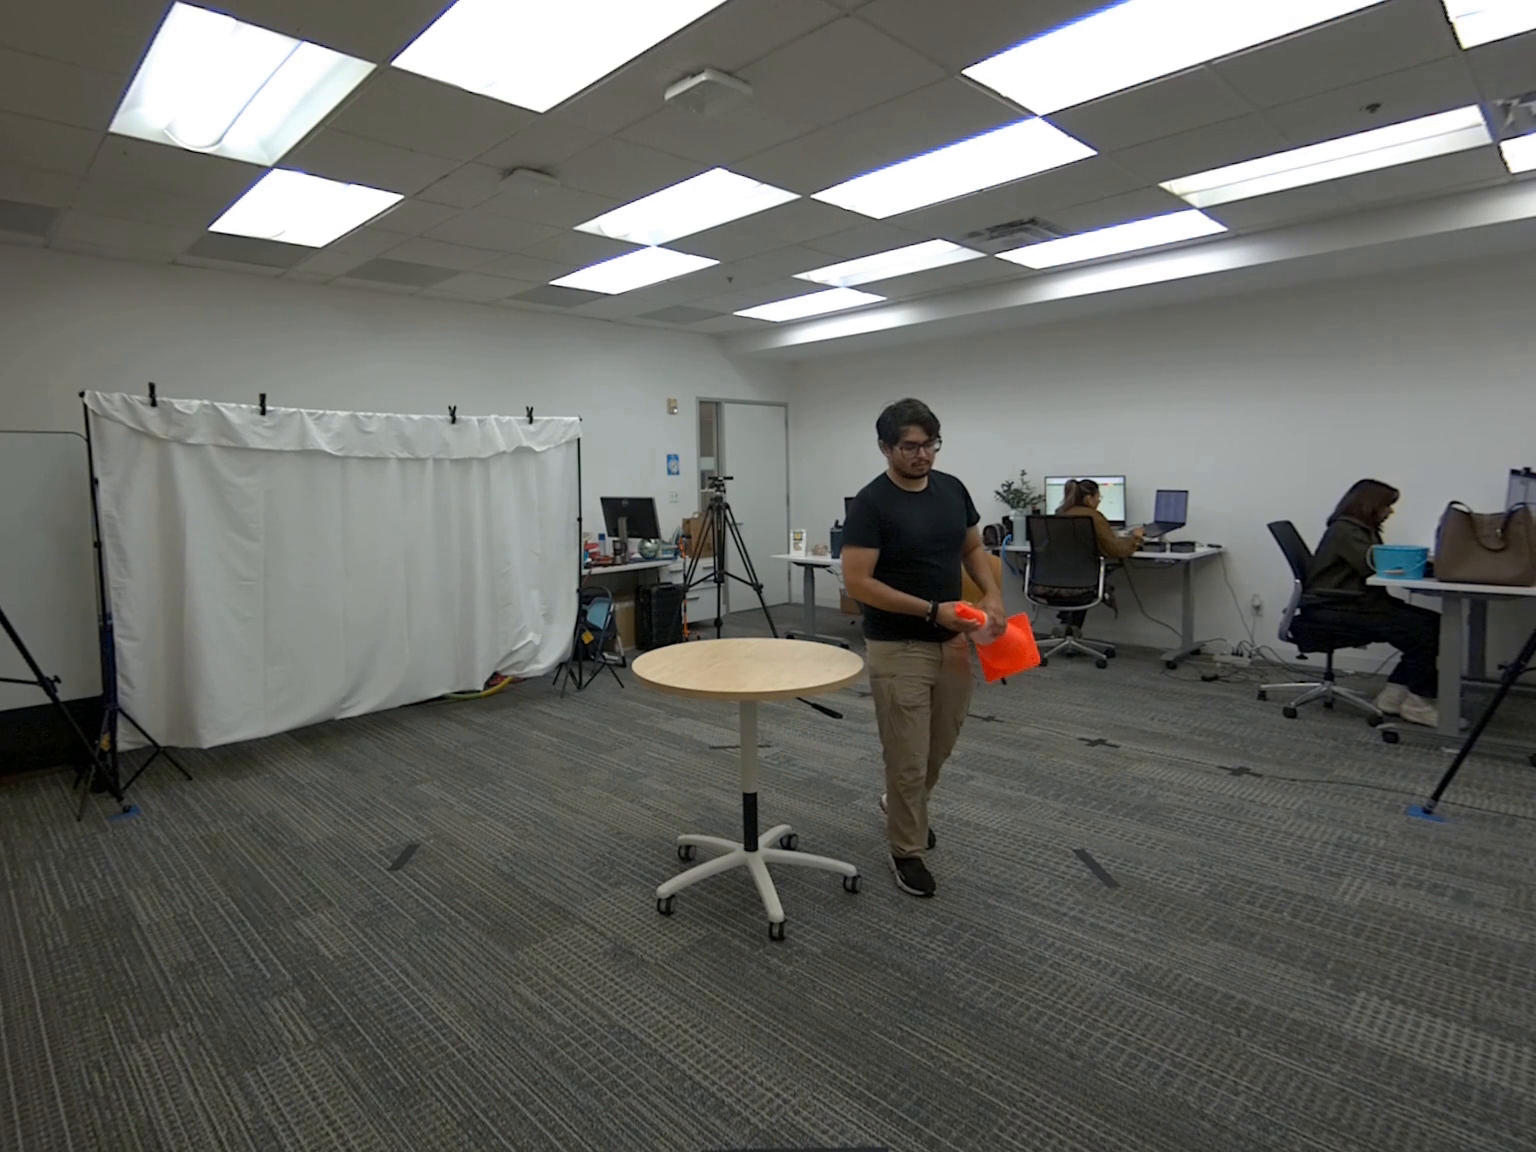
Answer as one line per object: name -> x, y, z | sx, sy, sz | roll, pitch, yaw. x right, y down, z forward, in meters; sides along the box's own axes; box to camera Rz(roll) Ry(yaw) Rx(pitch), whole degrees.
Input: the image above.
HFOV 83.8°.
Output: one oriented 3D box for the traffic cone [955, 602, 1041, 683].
traffic cone -> 0.697, 0.174, 2.790 | 0.206, 0.210, 0.369 | -26, -37, 30
